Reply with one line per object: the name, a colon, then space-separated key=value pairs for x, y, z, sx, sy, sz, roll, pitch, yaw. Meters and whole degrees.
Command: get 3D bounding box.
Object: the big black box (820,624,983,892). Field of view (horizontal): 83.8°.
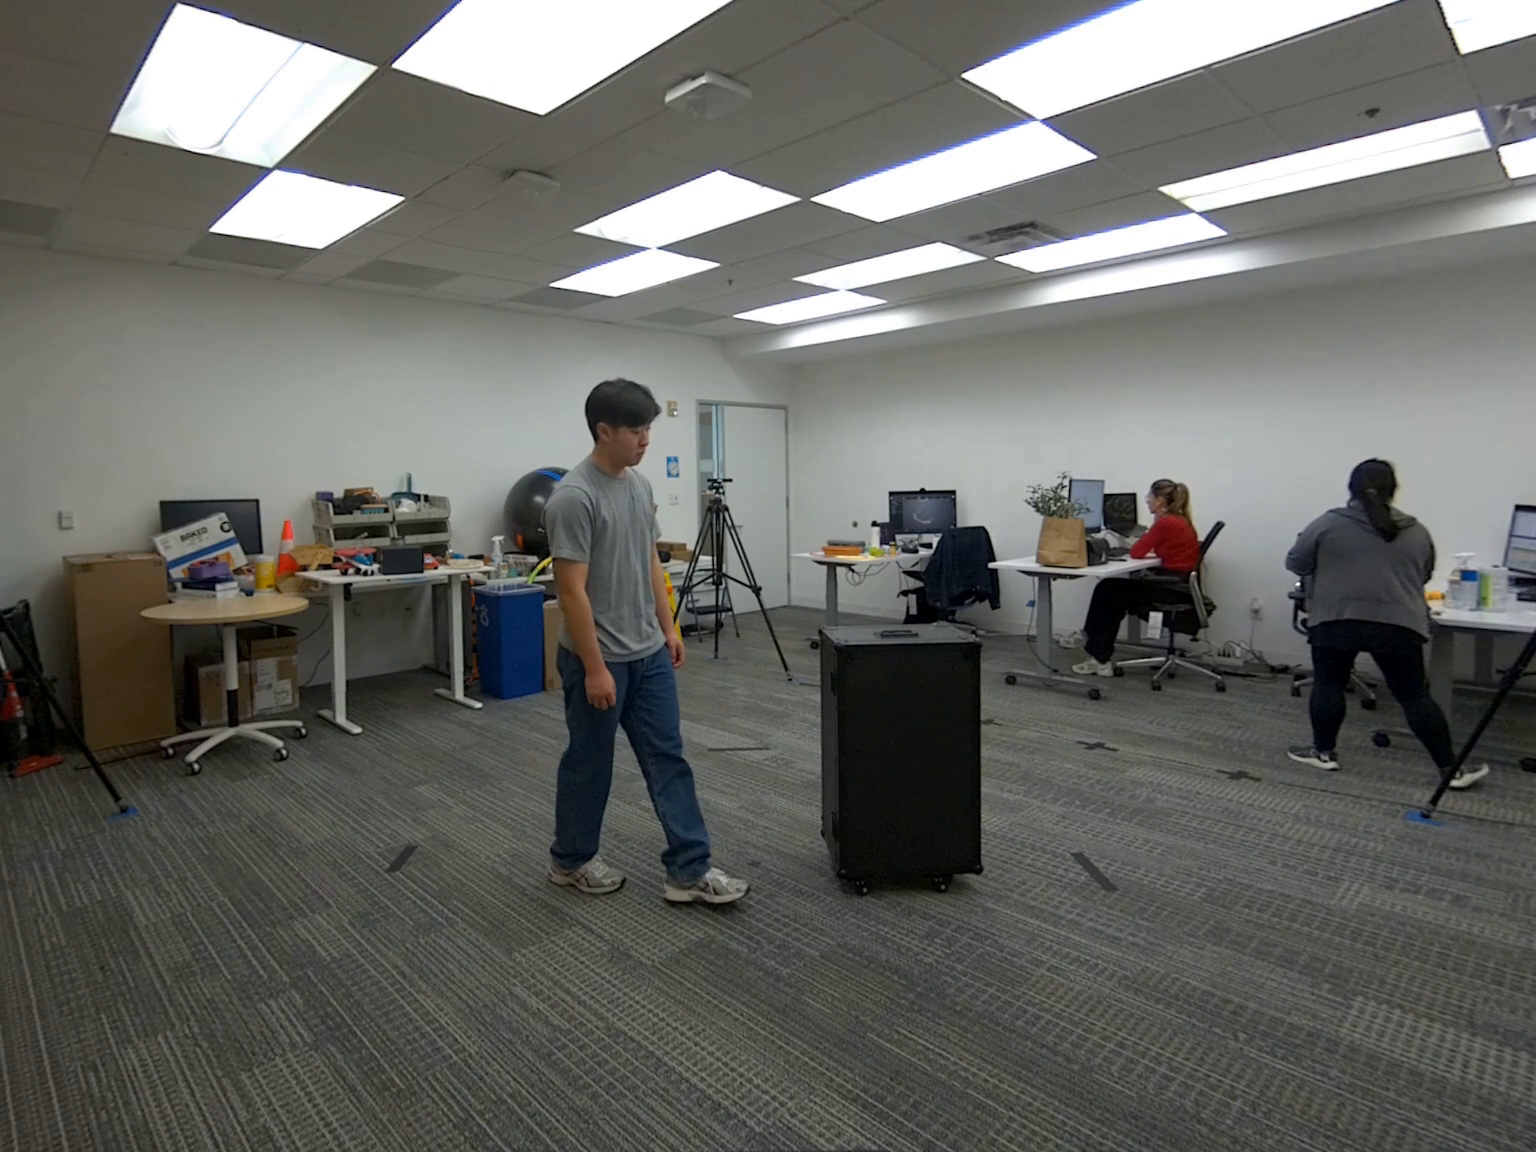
big black box: x=0.449 y=0.625 z=3.001 sx=0.520 sy=0.859 sz=0.398 roll=-1 pitch=3 yaw=-3
